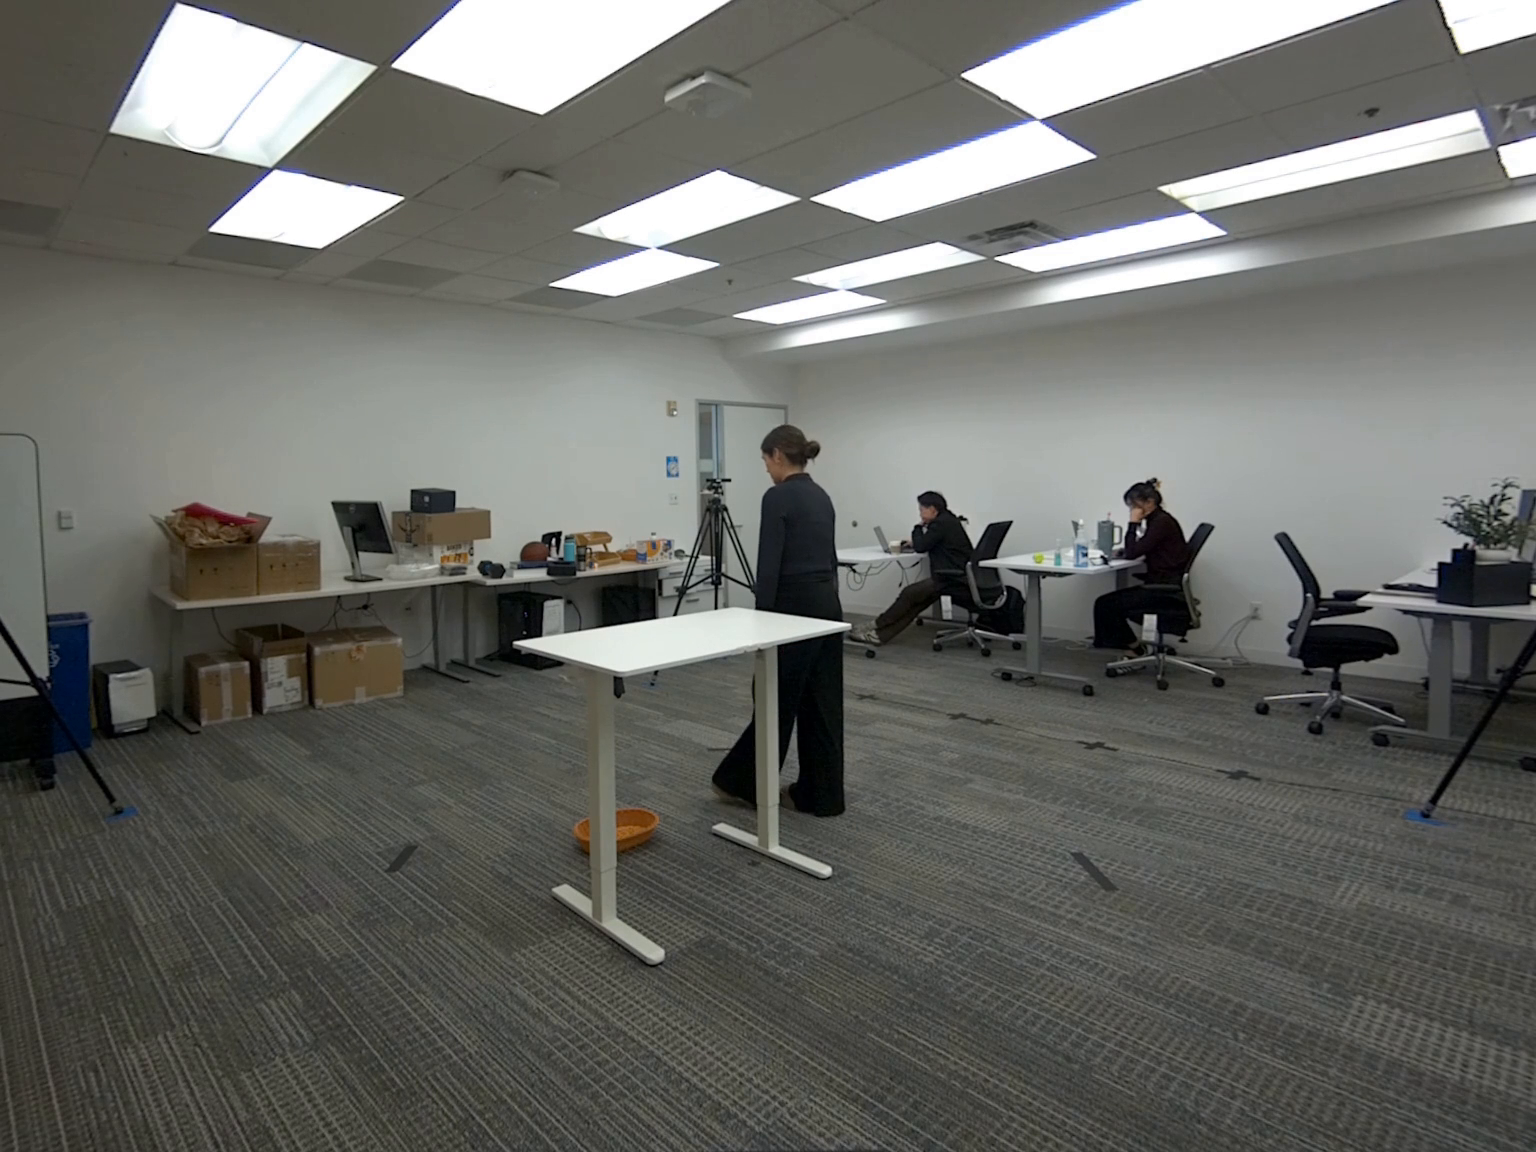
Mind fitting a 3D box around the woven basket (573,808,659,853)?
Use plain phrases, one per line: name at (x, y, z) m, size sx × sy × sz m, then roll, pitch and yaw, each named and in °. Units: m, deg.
woven basket at (-0.585, 0.986, 3.309) m, size 0.341 × 0.073 × 0.260 m, roll -7°, pitch 9°, yaw -40°
